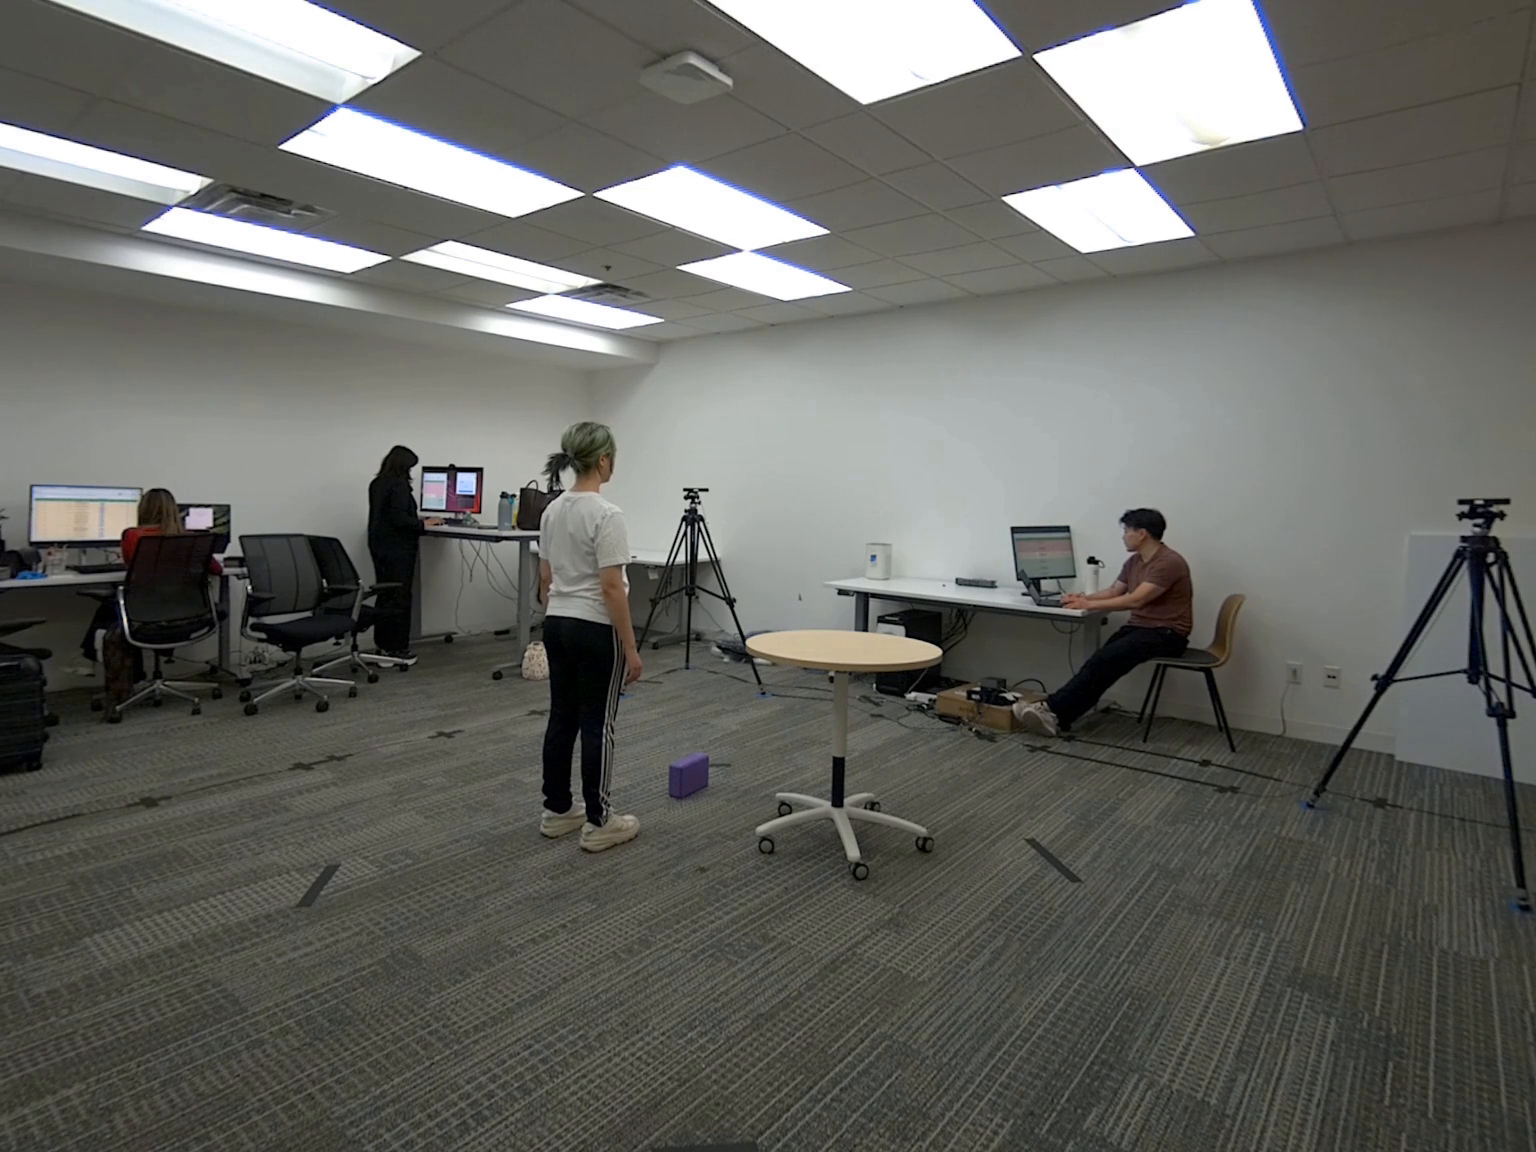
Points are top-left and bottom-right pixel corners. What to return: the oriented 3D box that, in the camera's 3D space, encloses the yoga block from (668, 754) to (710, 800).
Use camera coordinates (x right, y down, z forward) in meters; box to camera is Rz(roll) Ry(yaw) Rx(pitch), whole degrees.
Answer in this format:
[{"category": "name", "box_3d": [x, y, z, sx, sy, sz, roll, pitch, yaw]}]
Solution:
[{"category": "yoga block", "box_3d": [-0.375, 0.912, 3.924, 0.079, 0.148, 0.223, 3, 4, 32]}]
